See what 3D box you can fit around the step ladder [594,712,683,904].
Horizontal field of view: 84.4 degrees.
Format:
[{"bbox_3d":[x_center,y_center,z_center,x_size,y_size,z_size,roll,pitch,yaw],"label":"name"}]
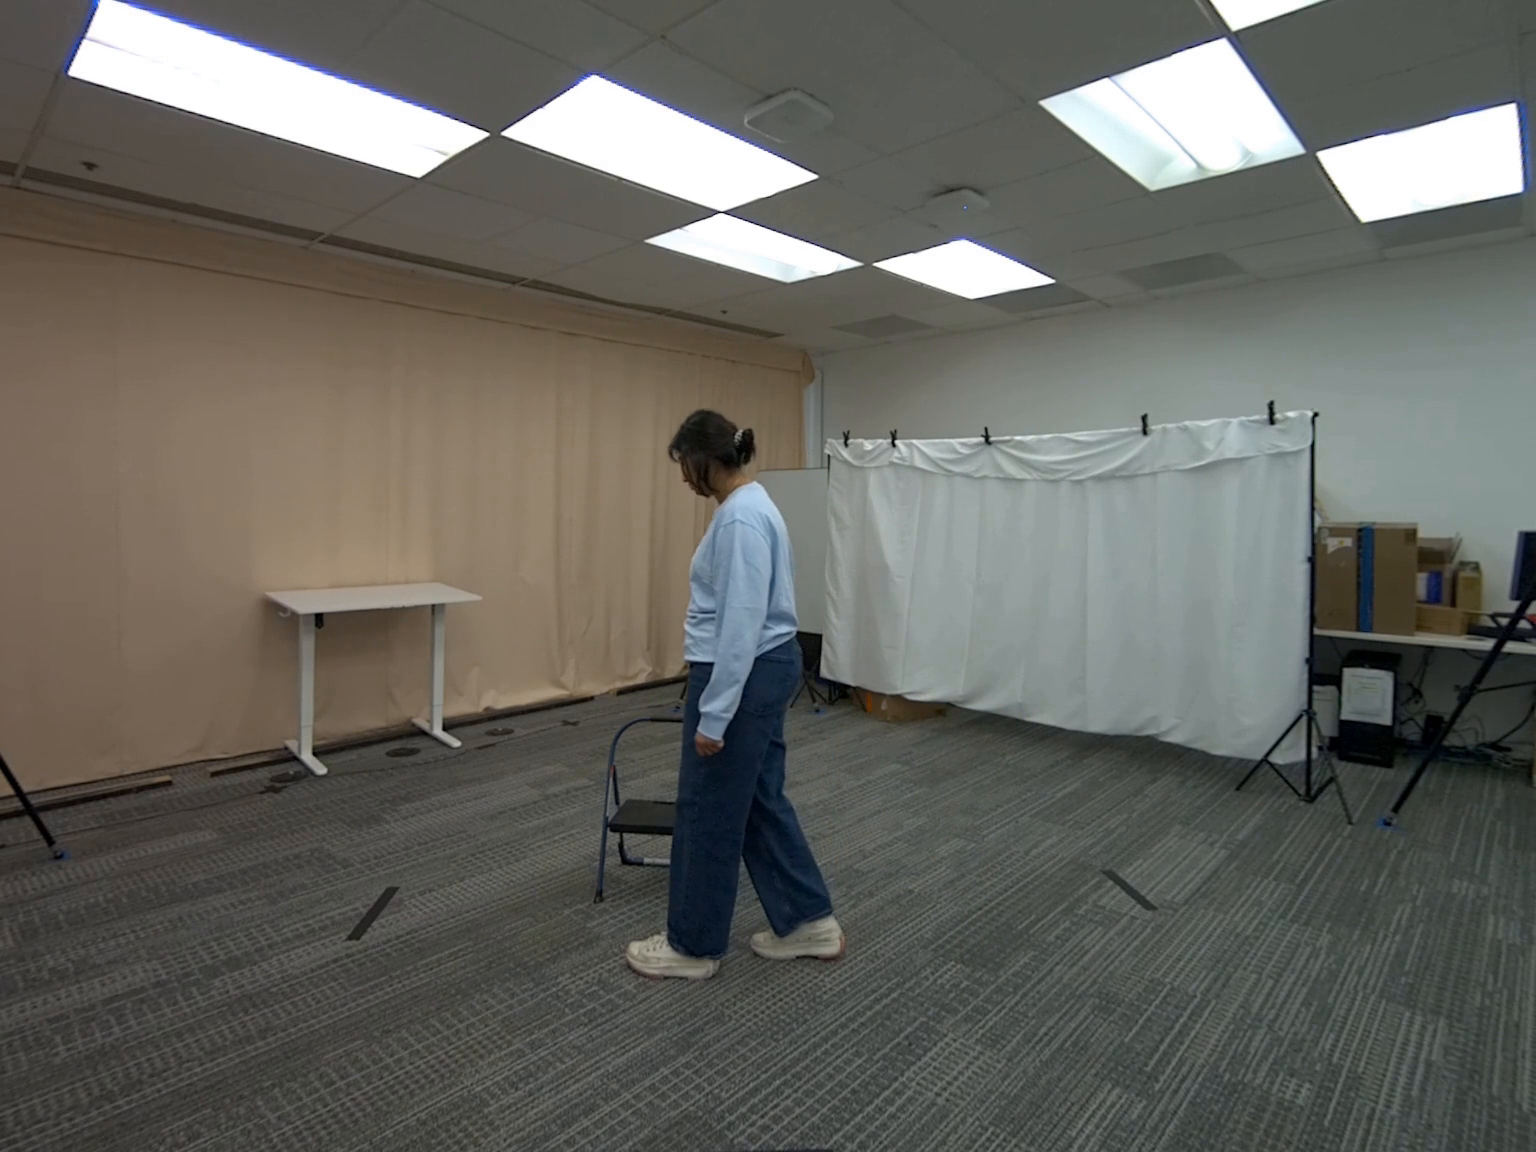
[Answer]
[{"bbox_3d":[-0.390,0.833,3.087,0.435,0.605,0.346,0,3,9],"label":"step ladder"}]
